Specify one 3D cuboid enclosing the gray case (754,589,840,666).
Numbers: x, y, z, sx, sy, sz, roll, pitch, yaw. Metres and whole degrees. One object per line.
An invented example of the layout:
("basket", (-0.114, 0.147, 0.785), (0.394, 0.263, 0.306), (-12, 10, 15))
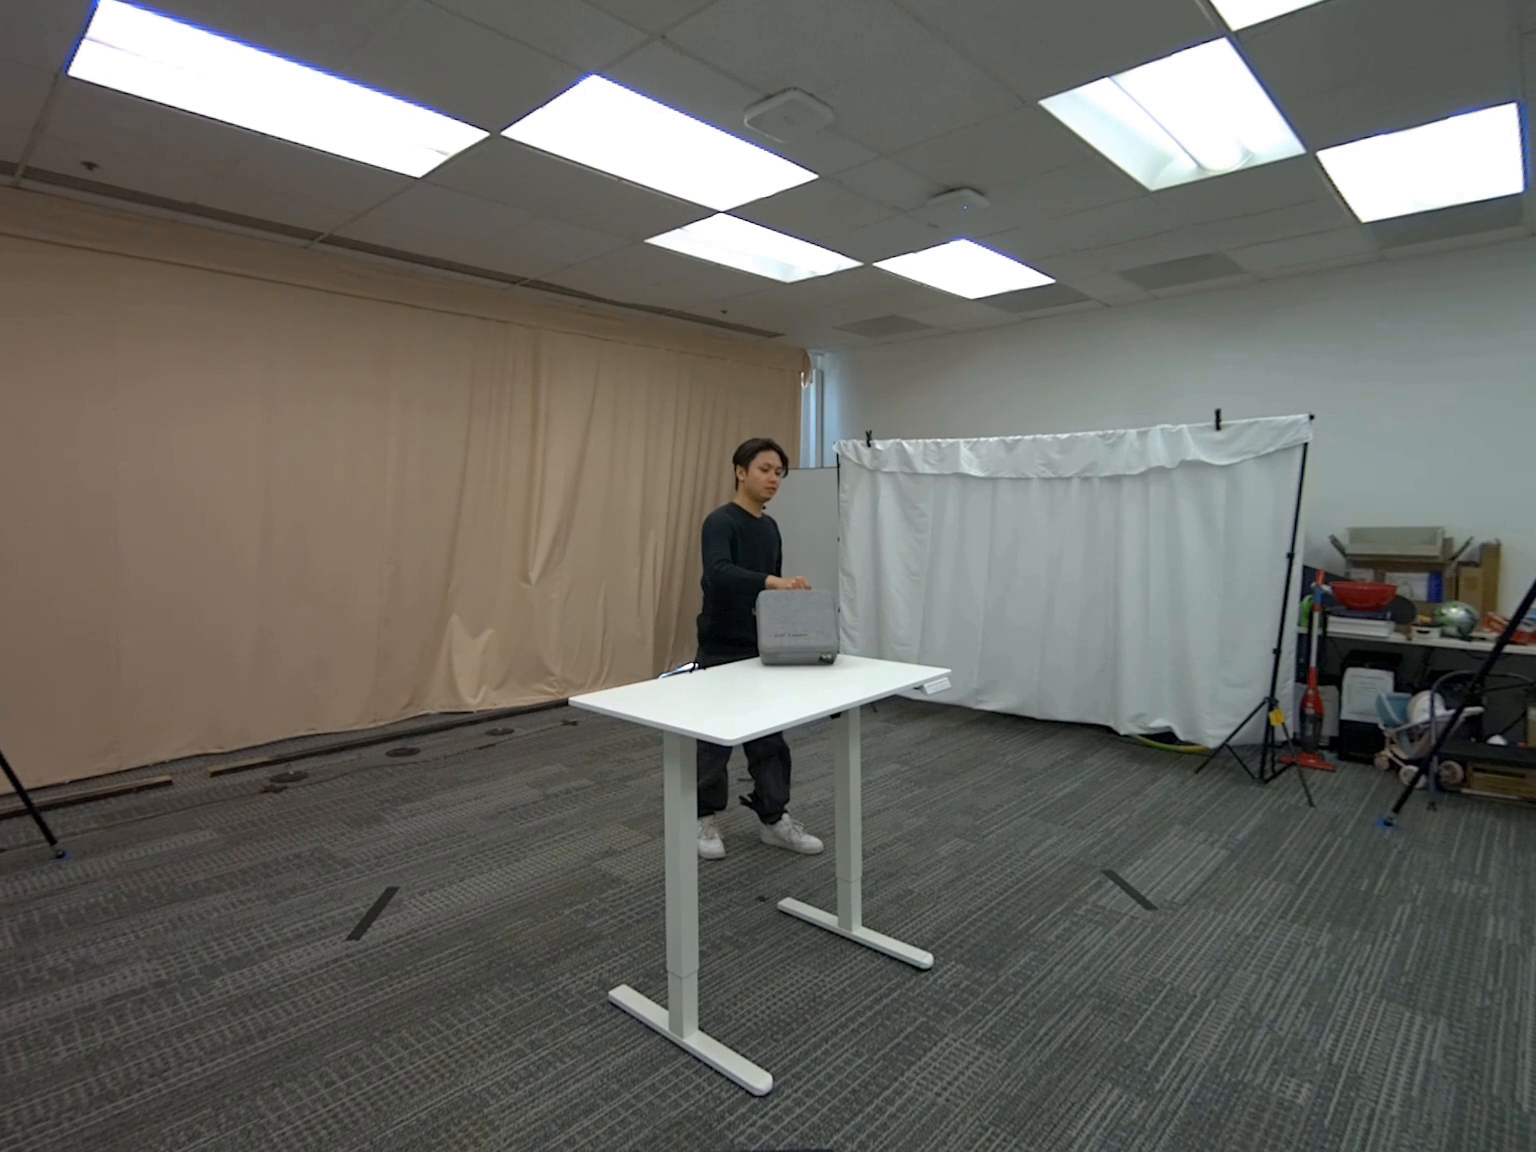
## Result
("gray case", (0.094, 0.164, 2.732), (0.256, 0.265, 0.102), (0, -39, -2))
